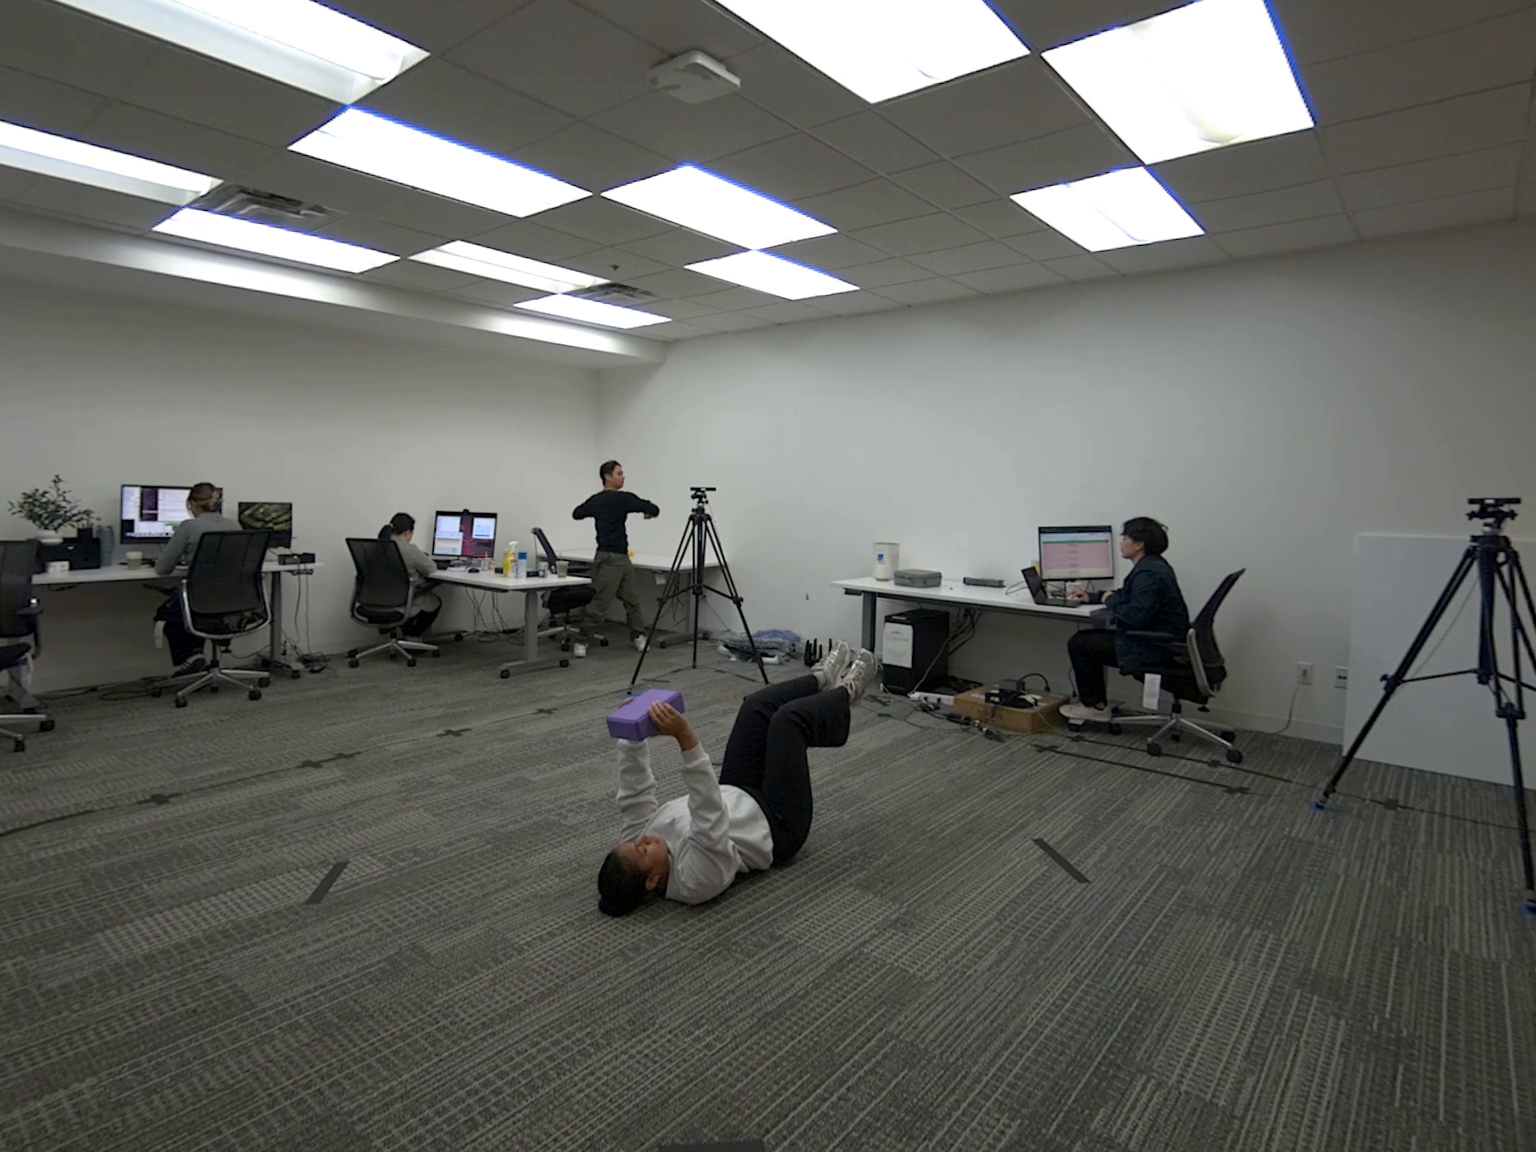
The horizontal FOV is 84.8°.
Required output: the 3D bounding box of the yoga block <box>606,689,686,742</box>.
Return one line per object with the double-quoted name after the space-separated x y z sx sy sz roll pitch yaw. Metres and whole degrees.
-0.417 0.455 2.798 0.153 0.075 0.225 -2 16 38 "yoga block"
